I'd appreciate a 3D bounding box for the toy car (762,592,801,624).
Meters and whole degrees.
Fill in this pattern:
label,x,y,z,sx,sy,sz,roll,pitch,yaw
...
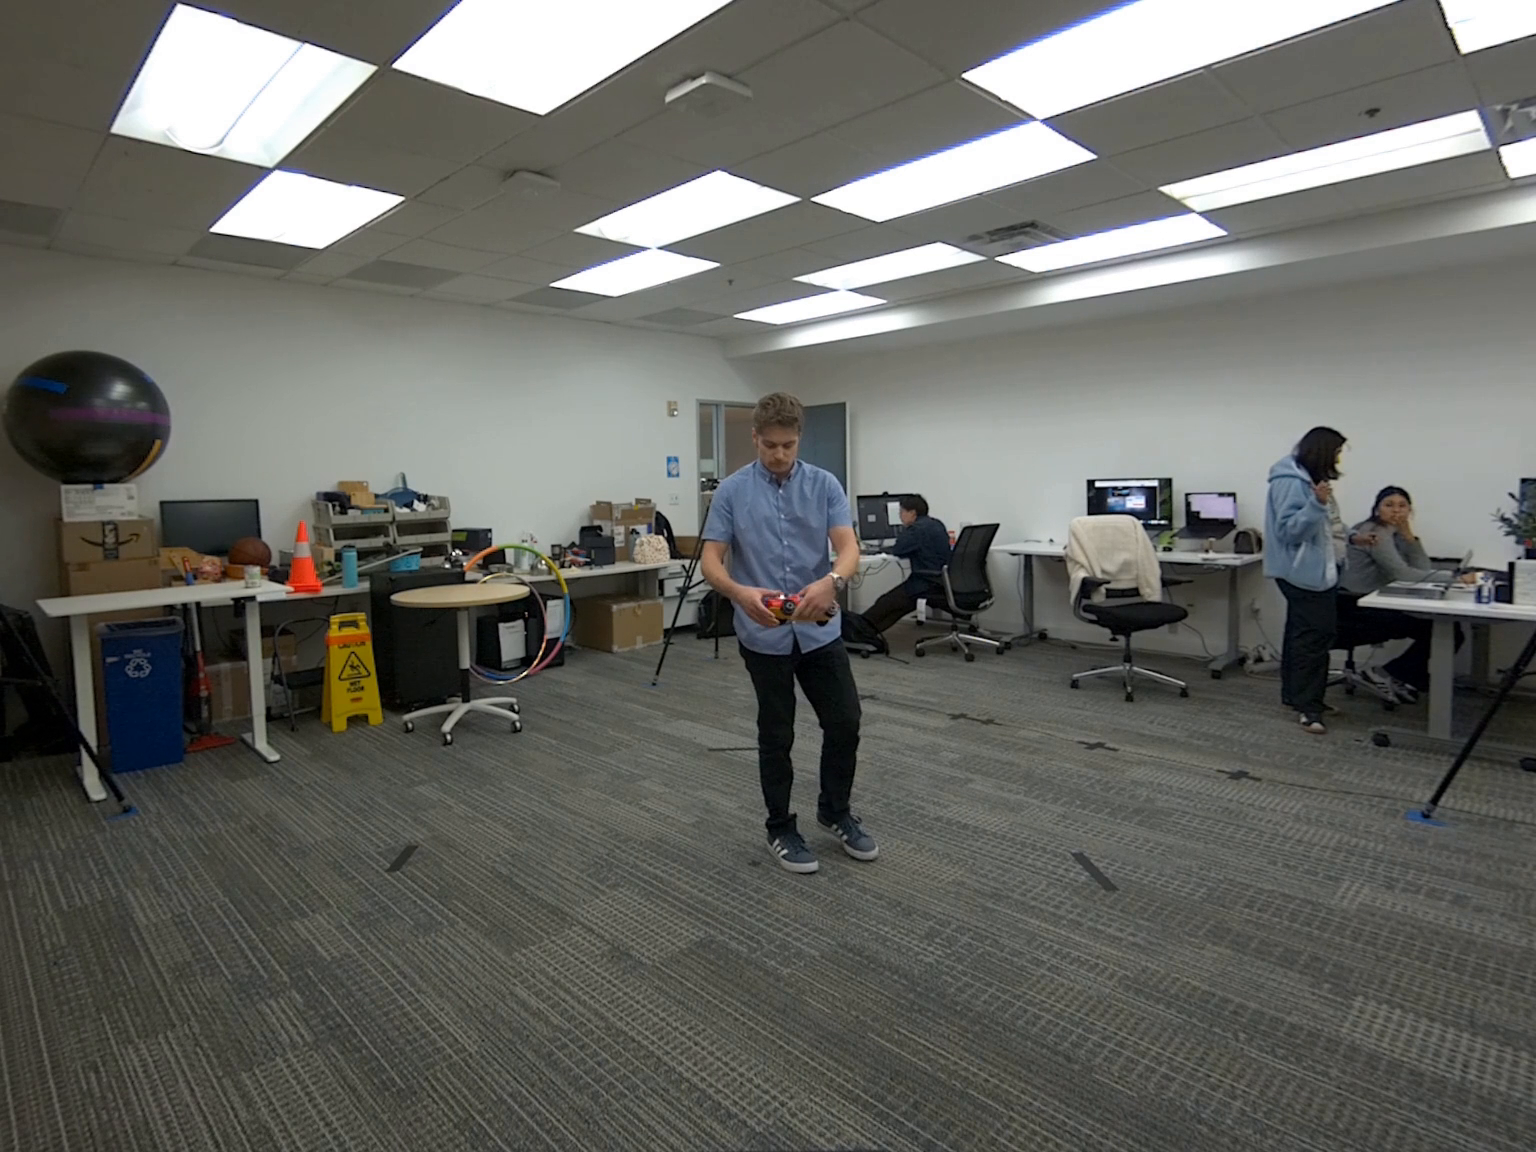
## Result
label,x,y,z,sx,sy,sz,roll,pitch,yaw
toy car,0.090,0.121,2.796,0.251,0.085,0.129,12,-28,-11
